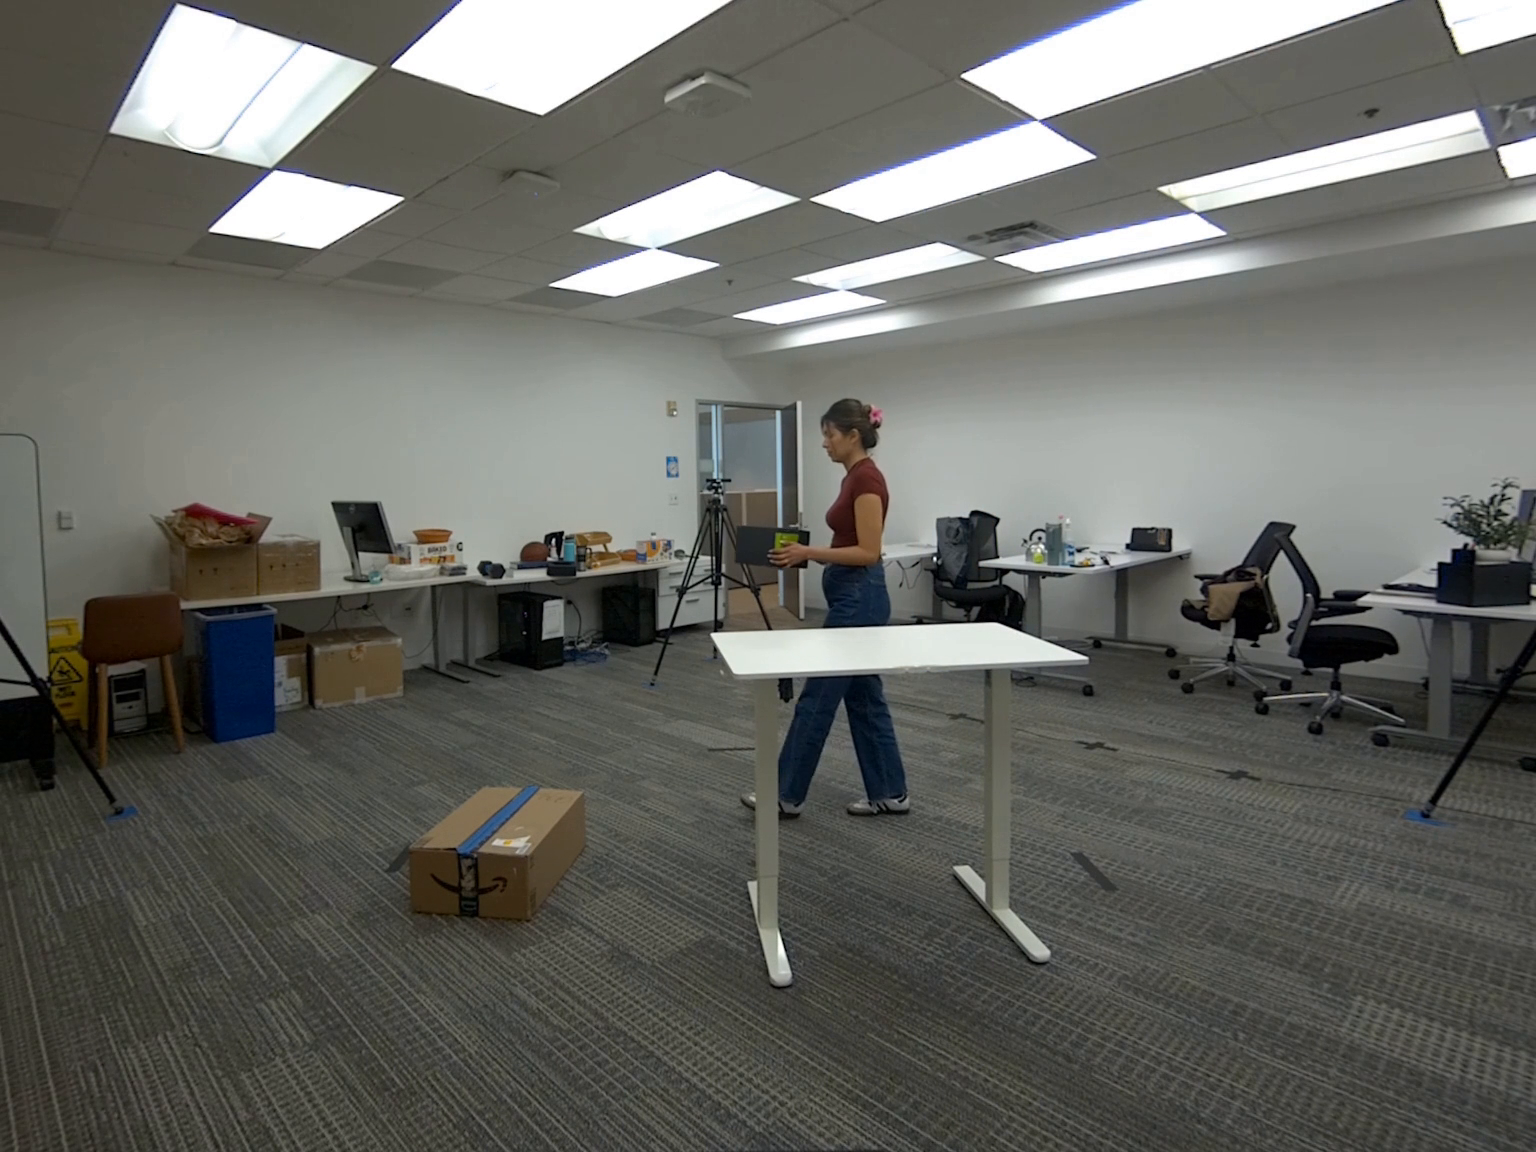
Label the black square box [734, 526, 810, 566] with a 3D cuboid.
[{"bbox_3d":[0.011,-0.123,3.479,0.223,0.156,0.222,5,2,31],"label":"black square box"}]
